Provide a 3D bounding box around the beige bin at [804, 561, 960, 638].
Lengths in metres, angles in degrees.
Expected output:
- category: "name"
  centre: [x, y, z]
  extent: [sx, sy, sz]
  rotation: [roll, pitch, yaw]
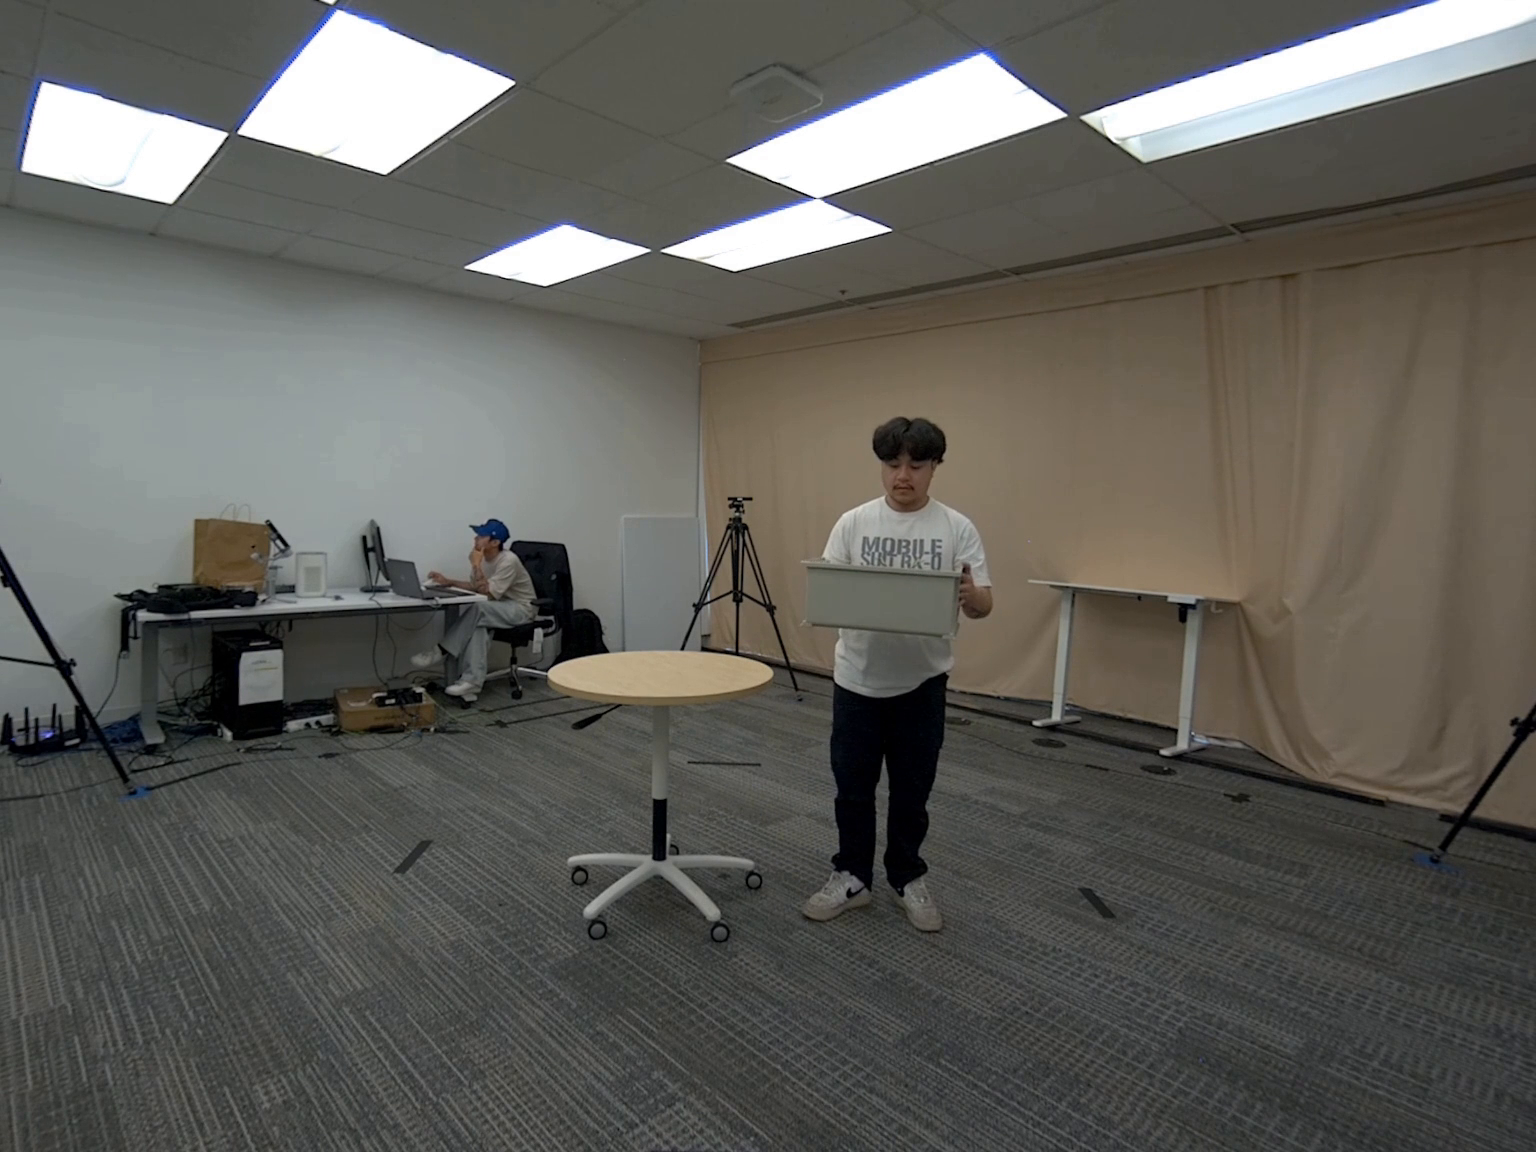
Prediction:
- category: "beige bin"
  centre: [0.324, 0.063, 2.394]
  extent: [0.428, 0.188, 0.373]
  rotation: [4, 5, 16]
